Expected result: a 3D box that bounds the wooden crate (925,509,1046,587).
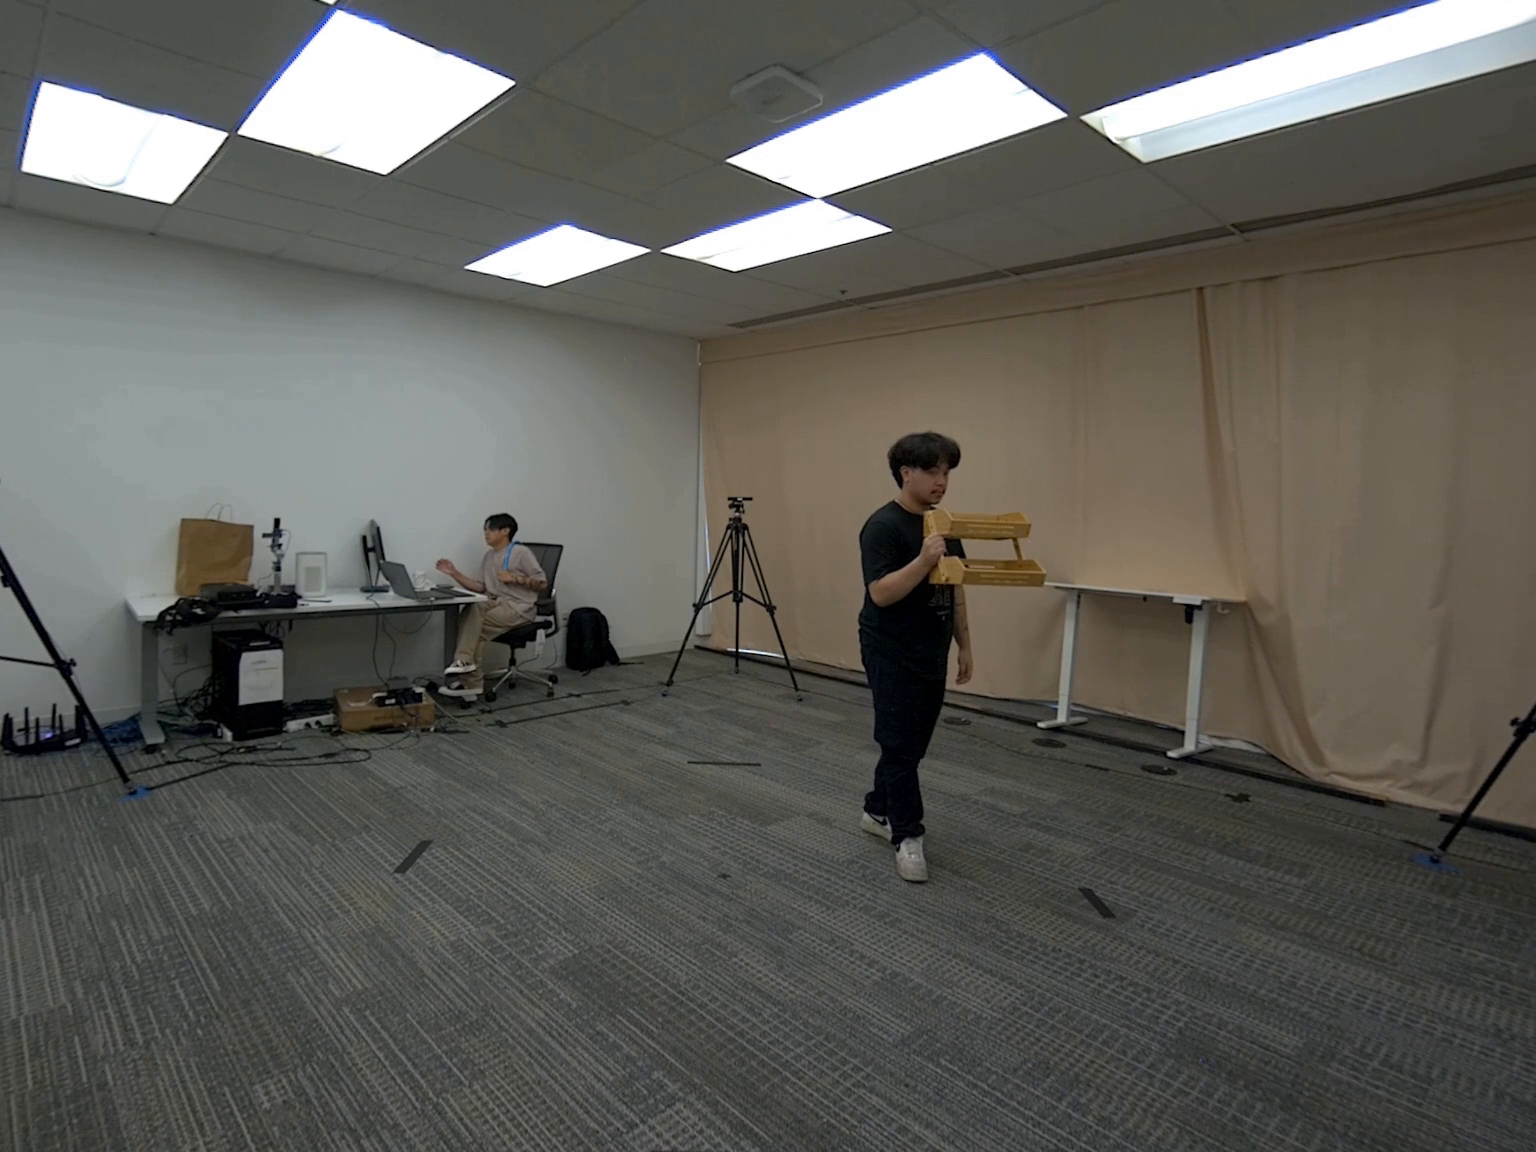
[{"bbox_3d":[0.738,-0.105,2.917,0.321,0.274,0.304,1,-3,-13],"label":"wooden crate"}]
